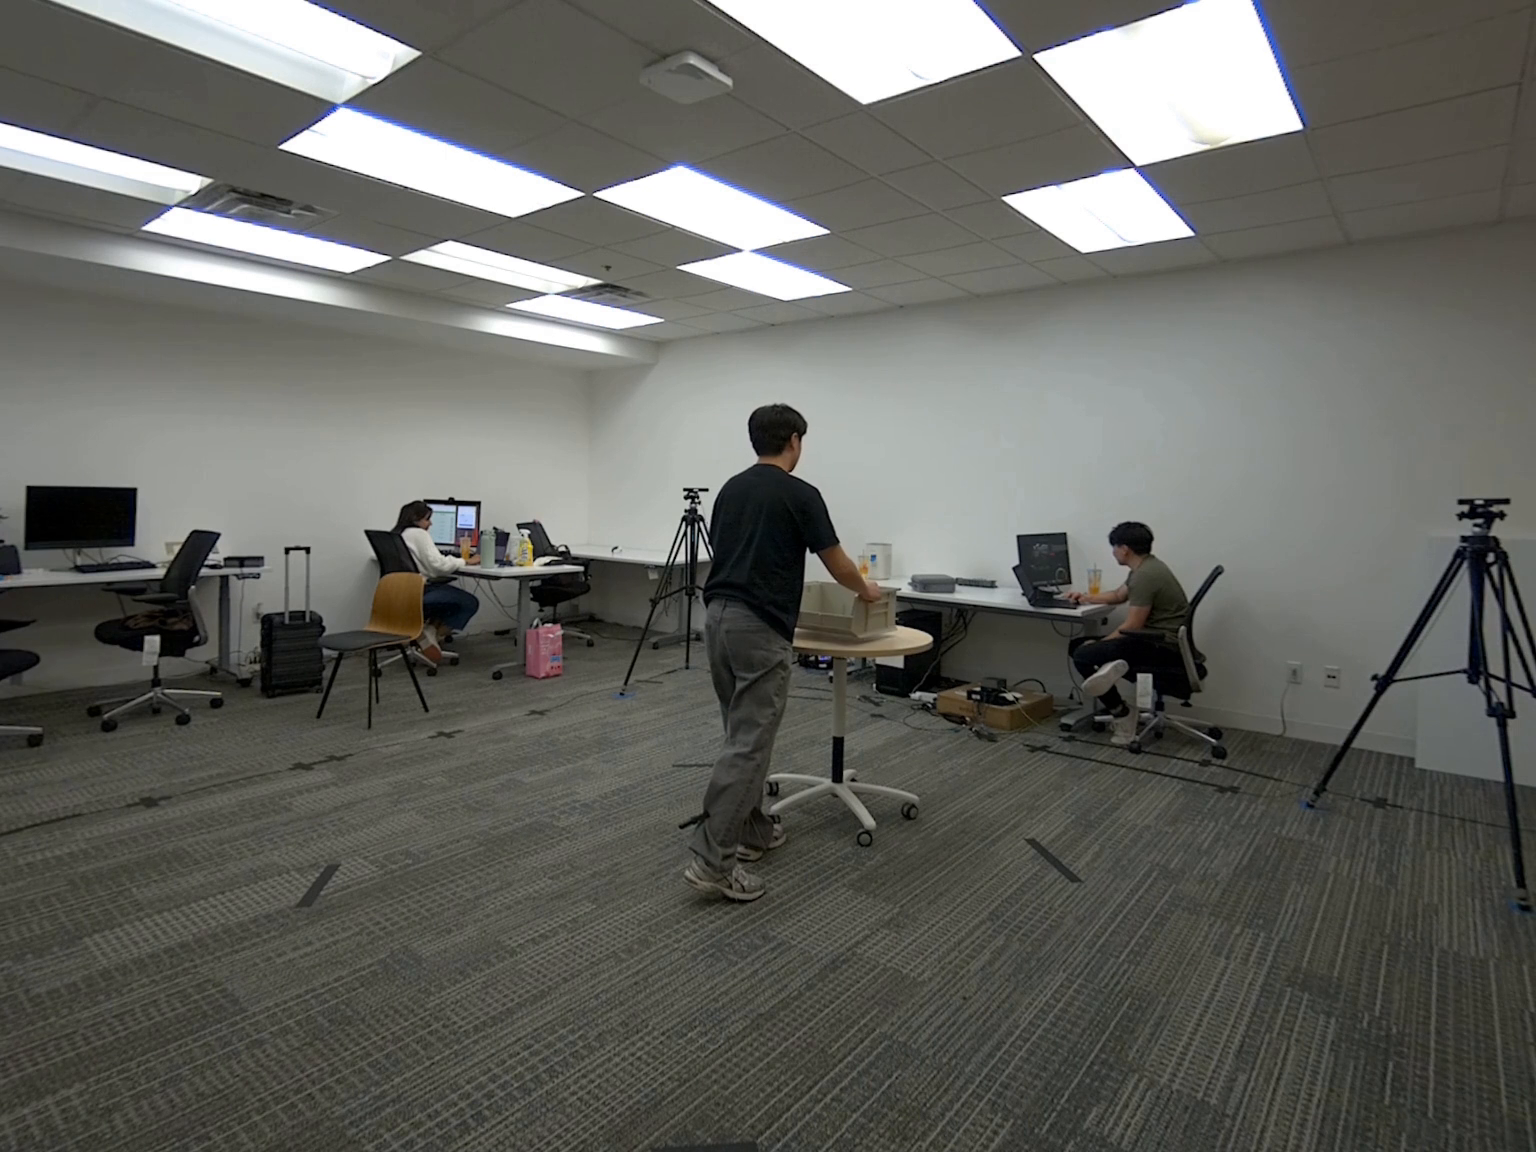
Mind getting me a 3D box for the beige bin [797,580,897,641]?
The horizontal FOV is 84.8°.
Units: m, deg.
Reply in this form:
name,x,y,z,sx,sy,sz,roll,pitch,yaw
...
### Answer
name,x,y,z,sx,sy,sz,roll,pitch,yaw
beige bin,0.276,0.132,3.598,0.436,0.188,0.366,4,5,39
